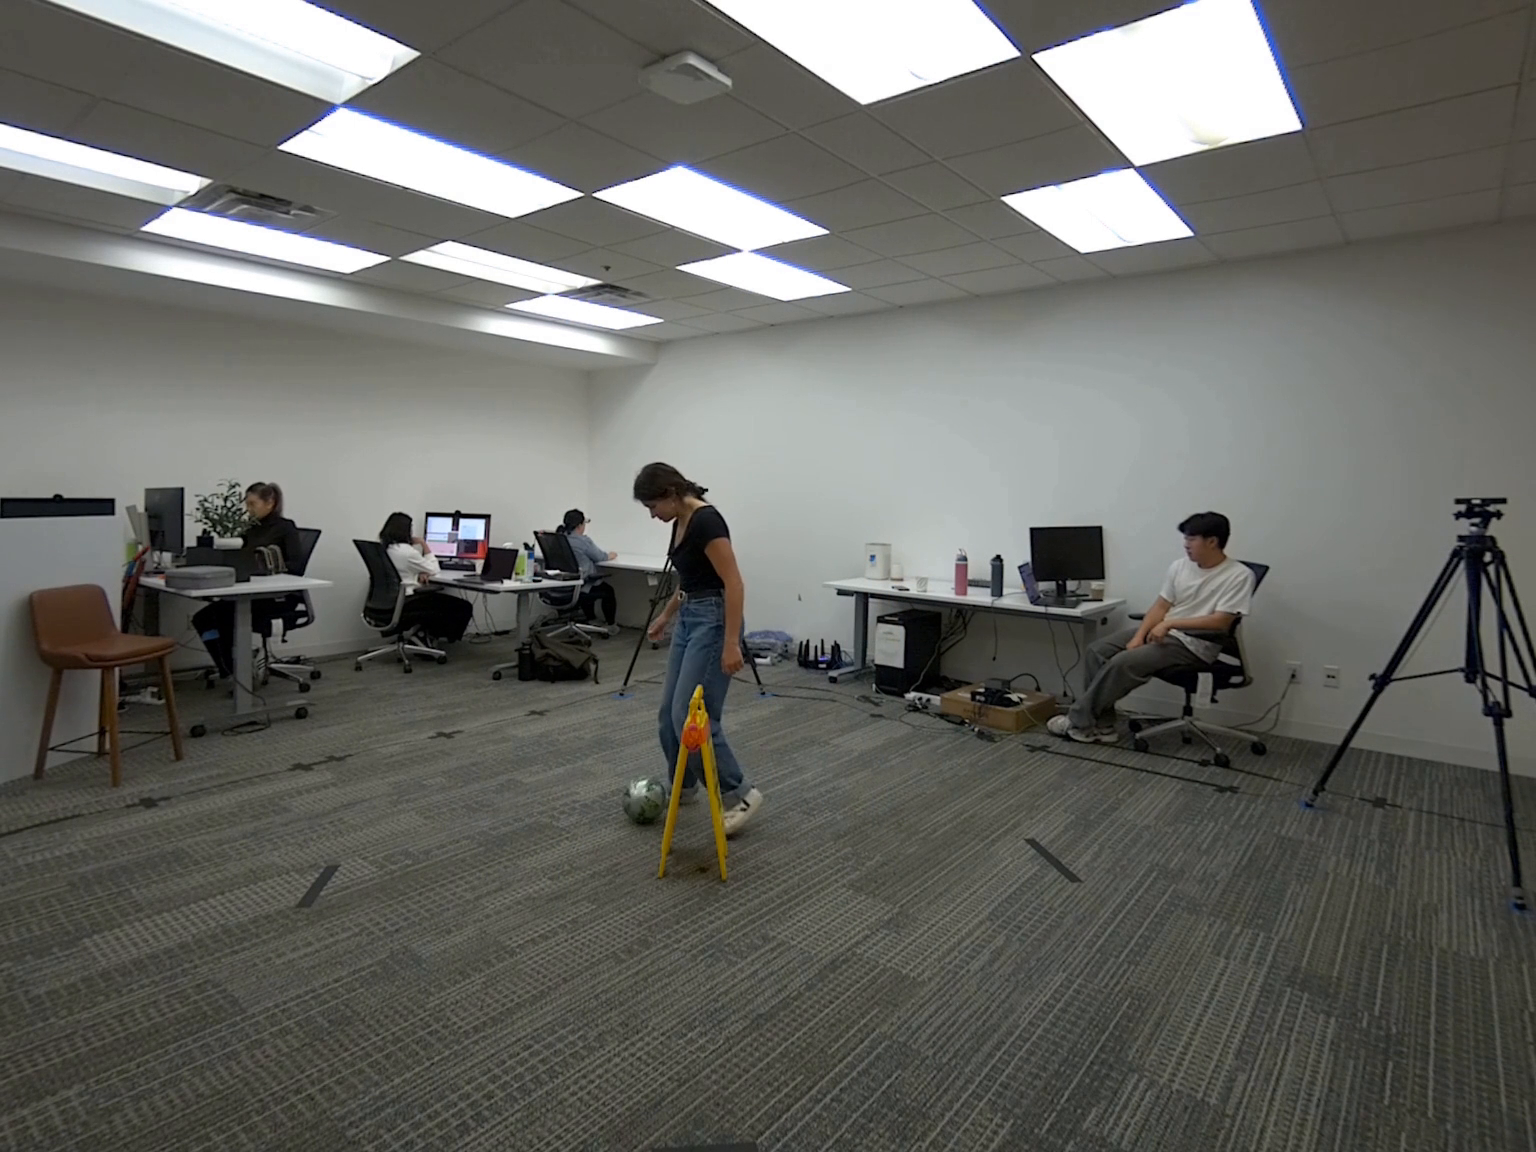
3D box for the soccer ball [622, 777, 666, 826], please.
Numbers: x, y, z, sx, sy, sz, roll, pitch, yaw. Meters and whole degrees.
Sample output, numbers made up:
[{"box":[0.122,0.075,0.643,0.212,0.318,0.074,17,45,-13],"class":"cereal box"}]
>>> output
[{"box":[-0.520,0.927,3.561,0.187,0.187,0.188,1,4,-2],"class":"soccer ball"}]
